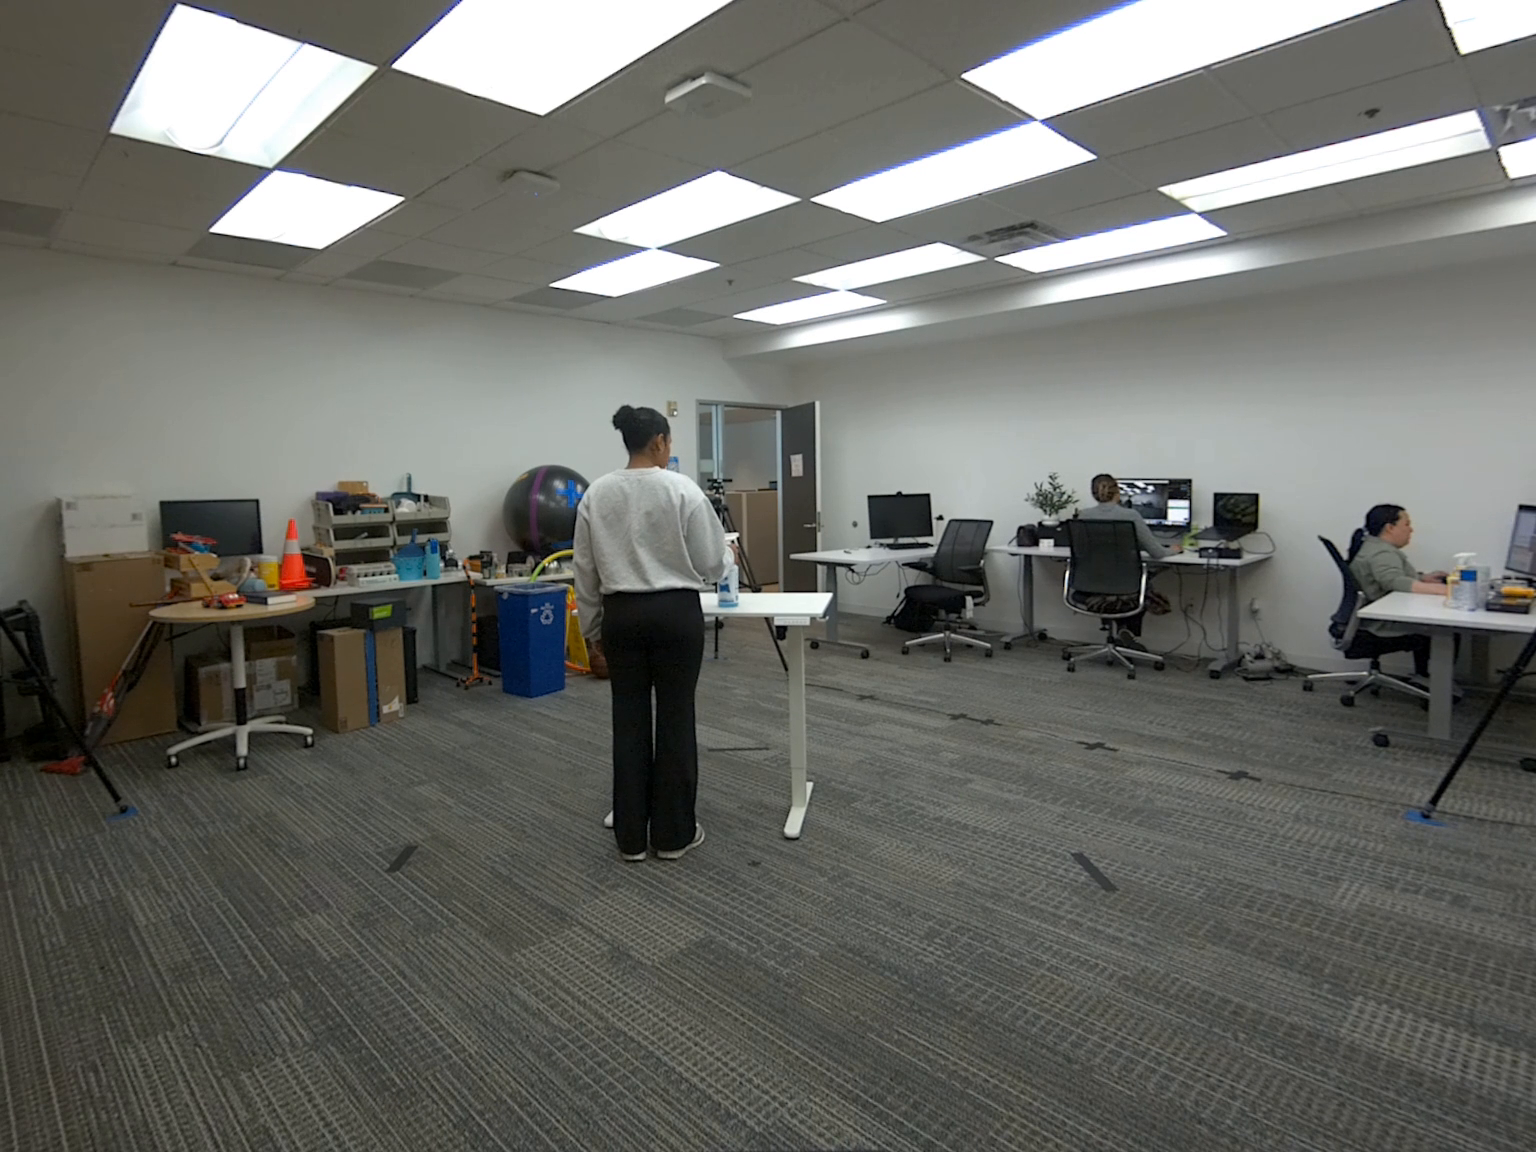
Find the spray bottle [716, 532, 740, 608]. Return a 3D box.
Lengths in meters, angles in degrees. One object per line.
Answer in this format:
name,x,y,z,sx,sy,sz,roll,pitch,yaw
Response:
spray bottle,-0.165,-0.027,3.463,0.090,0.296,0.087,0,6,-2
